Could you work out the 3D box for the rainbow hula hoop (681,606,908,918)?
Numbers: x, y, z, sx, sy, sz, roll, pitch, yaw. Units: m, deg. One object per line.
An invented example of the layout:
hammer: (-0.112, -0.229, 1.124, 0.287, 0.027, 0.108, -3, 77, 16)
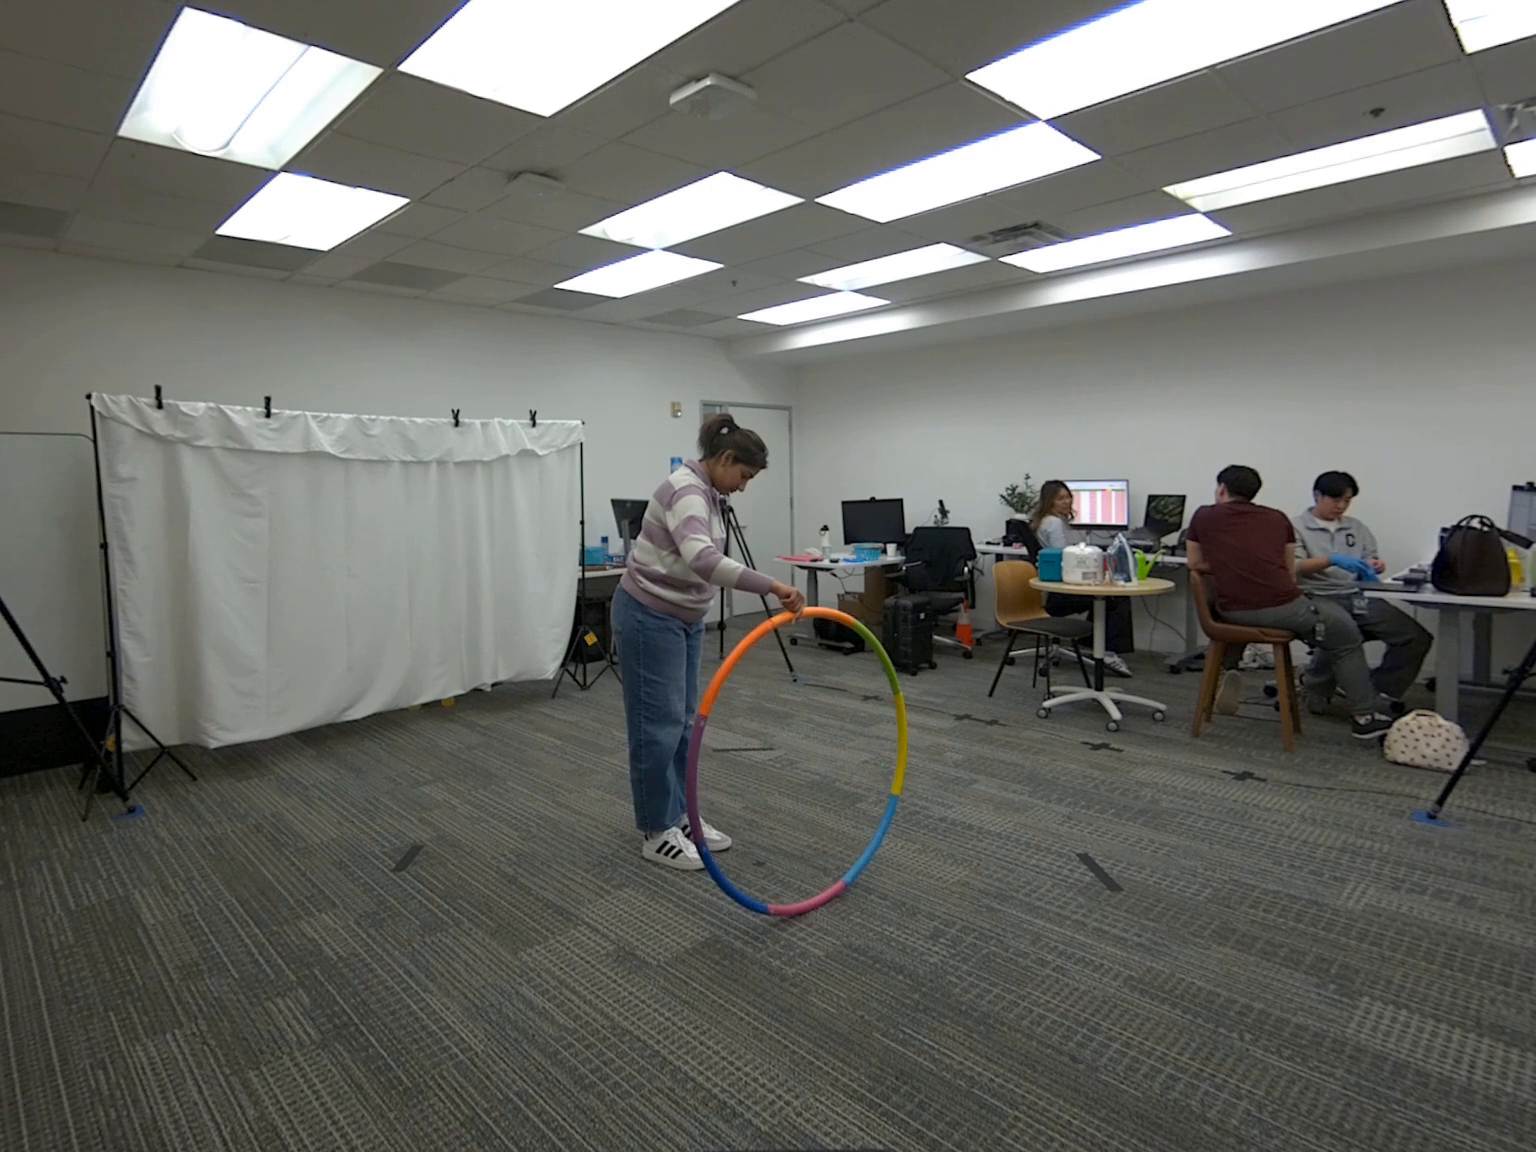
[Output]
rainbow hula hoop: (0.127, 0.595, 2.771, 0.953, 0.977, 0.036, -5, 3, -40)
